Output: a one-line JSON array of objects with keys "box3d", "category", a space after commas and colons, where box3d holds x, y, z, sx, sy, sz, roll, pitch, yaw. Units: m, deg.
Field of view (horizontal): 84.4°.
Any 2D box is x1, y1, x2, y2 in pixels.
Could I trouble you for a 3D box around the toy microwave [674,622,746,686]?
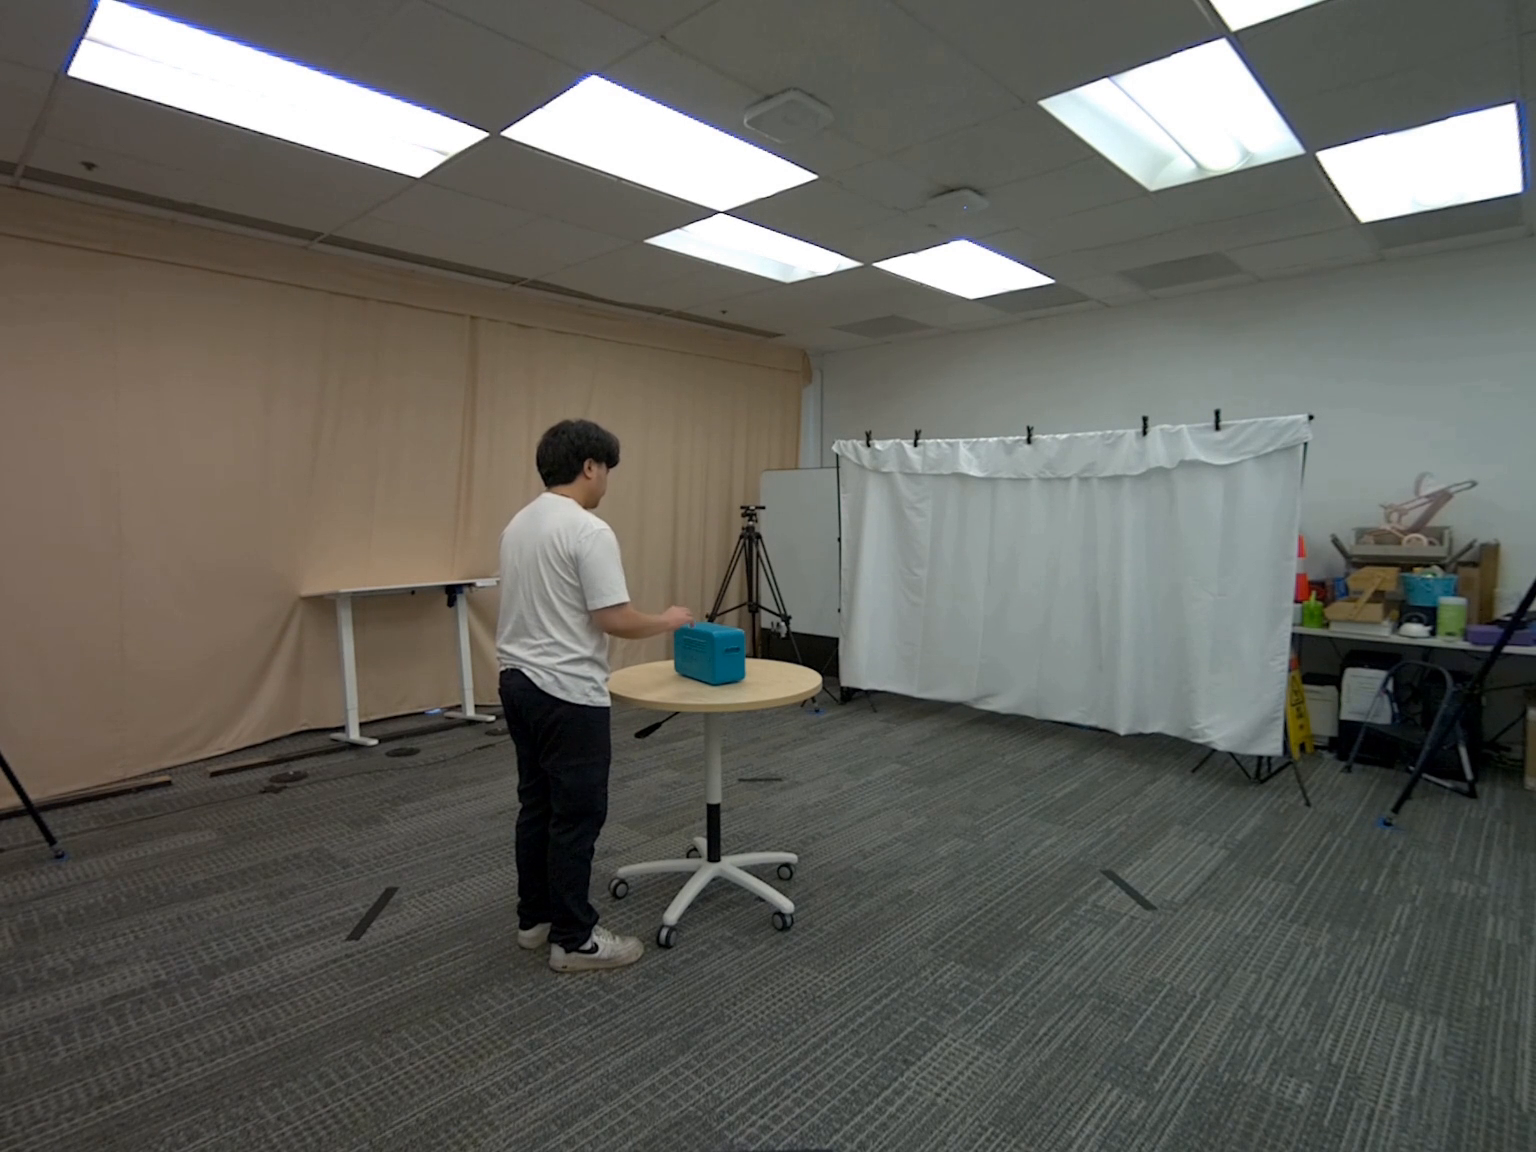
[{"box3d": [-0.199, 0.264, 2.937, 0.148, 0.184, 0.295, -3, 5, -34], "category": "toy microwave"}]
